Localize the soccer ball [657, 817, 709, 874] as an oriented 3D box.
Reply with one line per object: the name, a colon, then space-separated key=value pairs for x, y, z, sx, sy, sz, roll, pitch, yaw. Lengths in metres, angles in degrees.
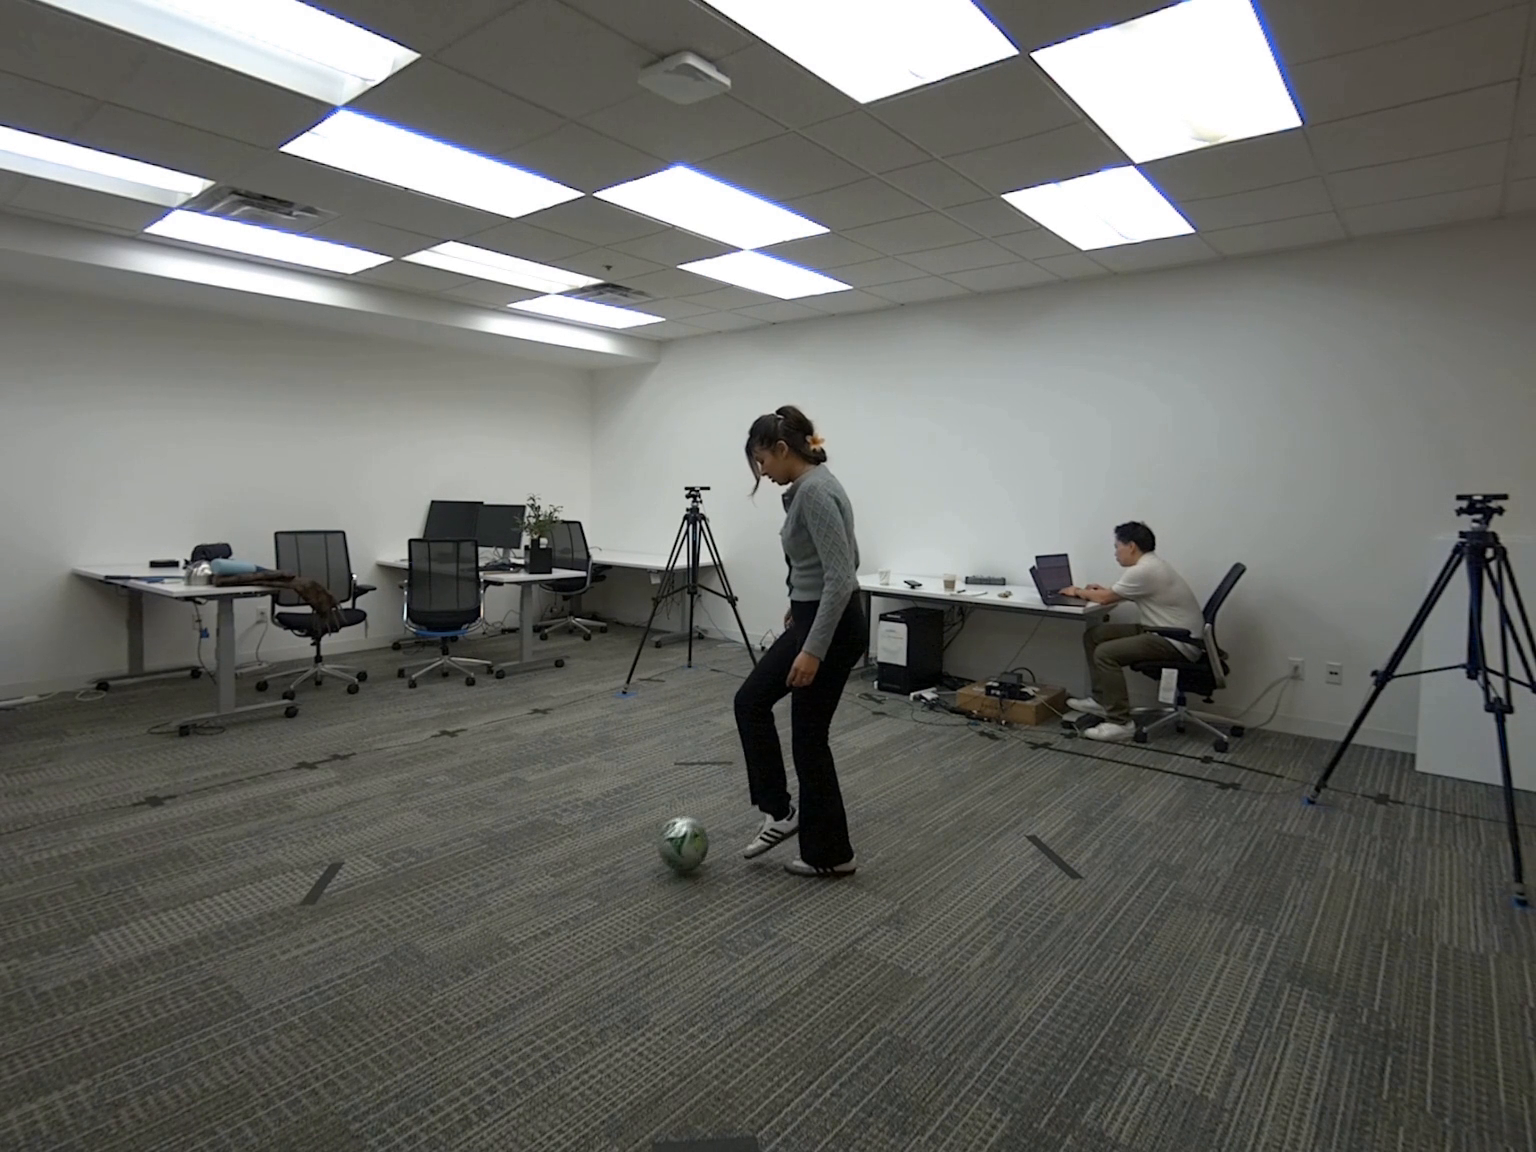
soccer ball: x=-0.308 y=0.963 z=3.077 sx=0.187 sy=0.187 sz=0.188 roll=1 pitch=4 yaw=-2
